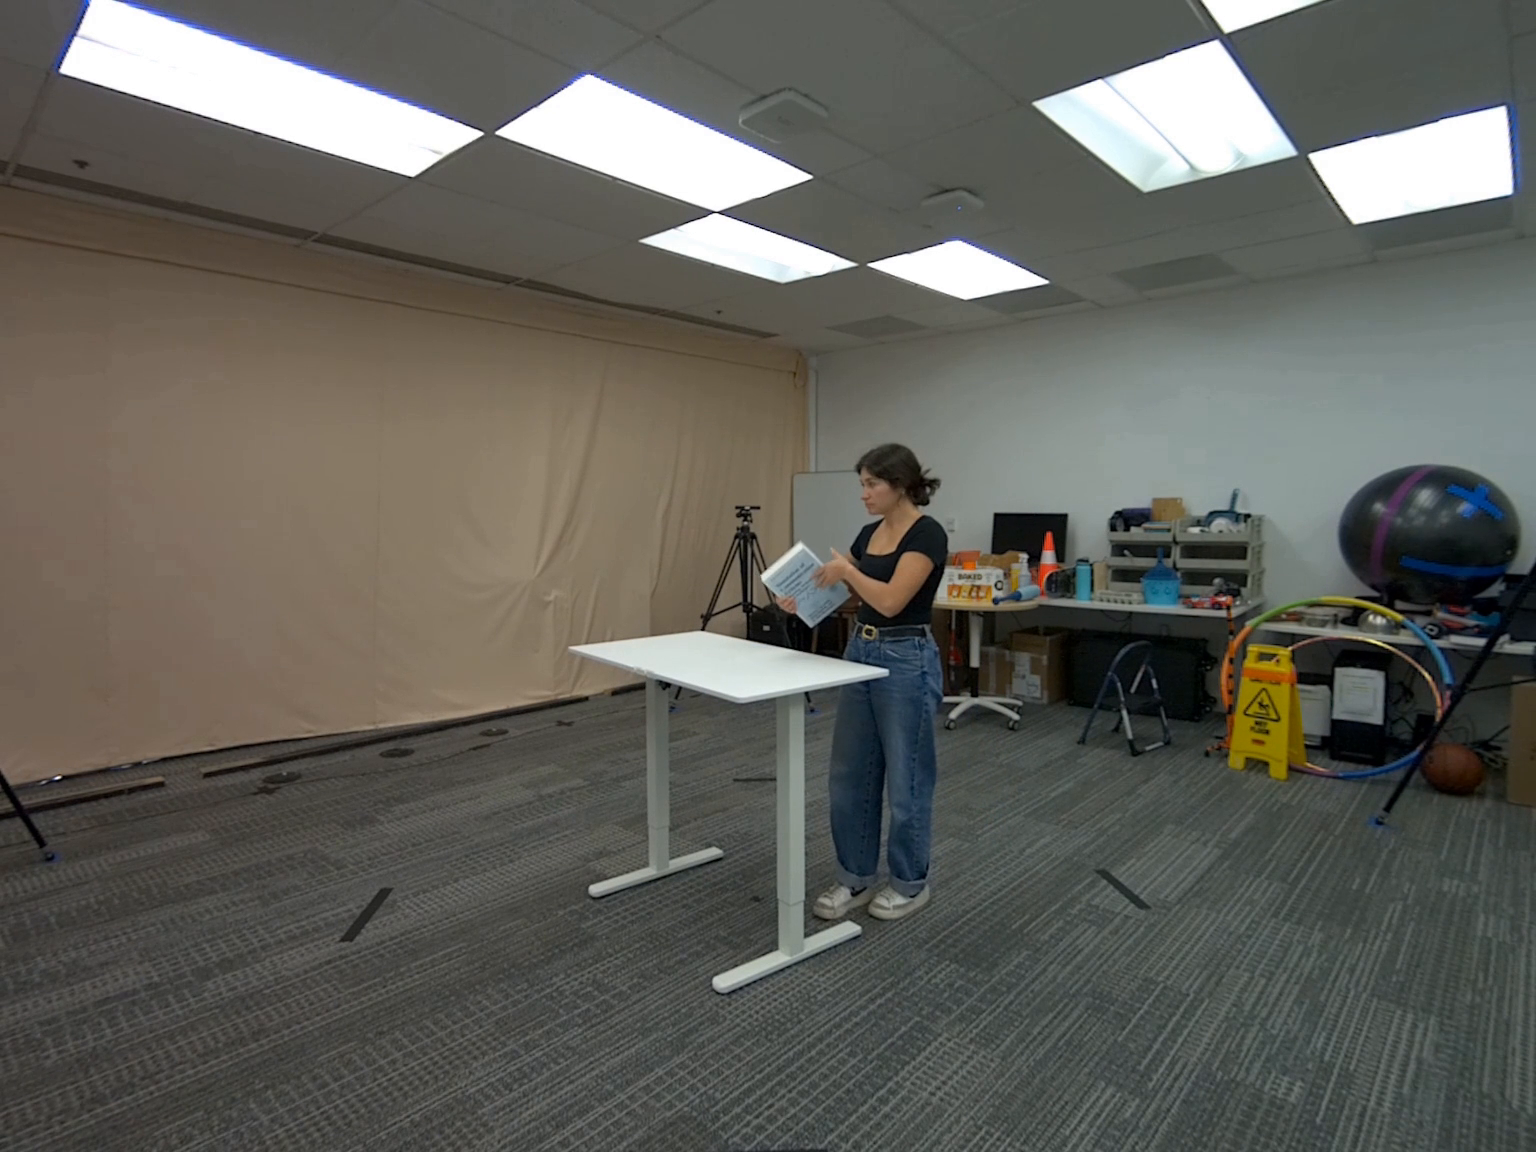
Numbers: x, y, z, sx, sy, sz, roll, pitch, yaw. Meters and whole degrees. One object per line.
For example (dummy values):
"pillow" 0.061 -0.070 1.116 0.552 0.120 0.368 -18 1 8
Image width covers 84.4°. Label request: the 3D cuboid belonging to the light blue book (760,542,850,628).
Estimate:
"light blue book" 0.142 0.031 2.915 0.192 0.255 0.060 -41 21 12
